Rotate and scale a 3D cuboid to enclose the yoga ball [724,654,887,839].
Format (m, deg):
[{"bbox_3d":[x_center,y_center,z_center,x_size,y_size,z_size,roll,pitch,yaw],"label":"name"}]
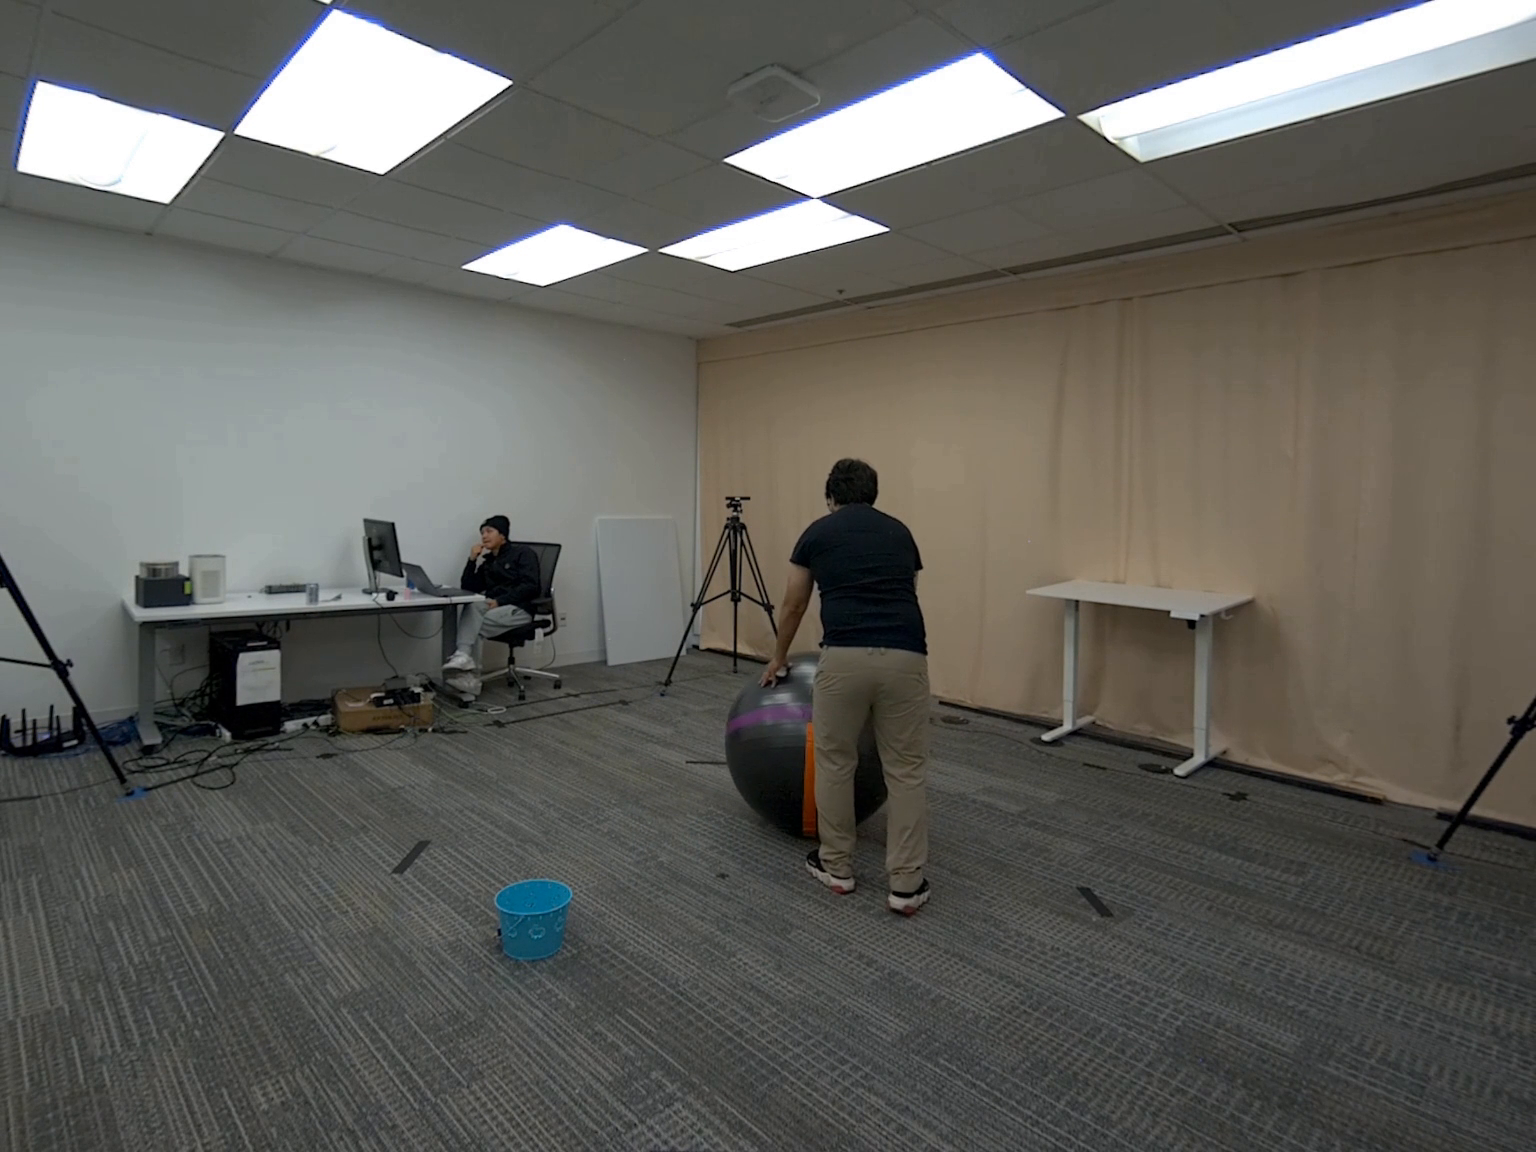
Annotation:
[{"bbox_3d":[0.189,0.707,3.593,0.757,0.756,0.761,1,4,-1],"label":"yoga ball"}]
